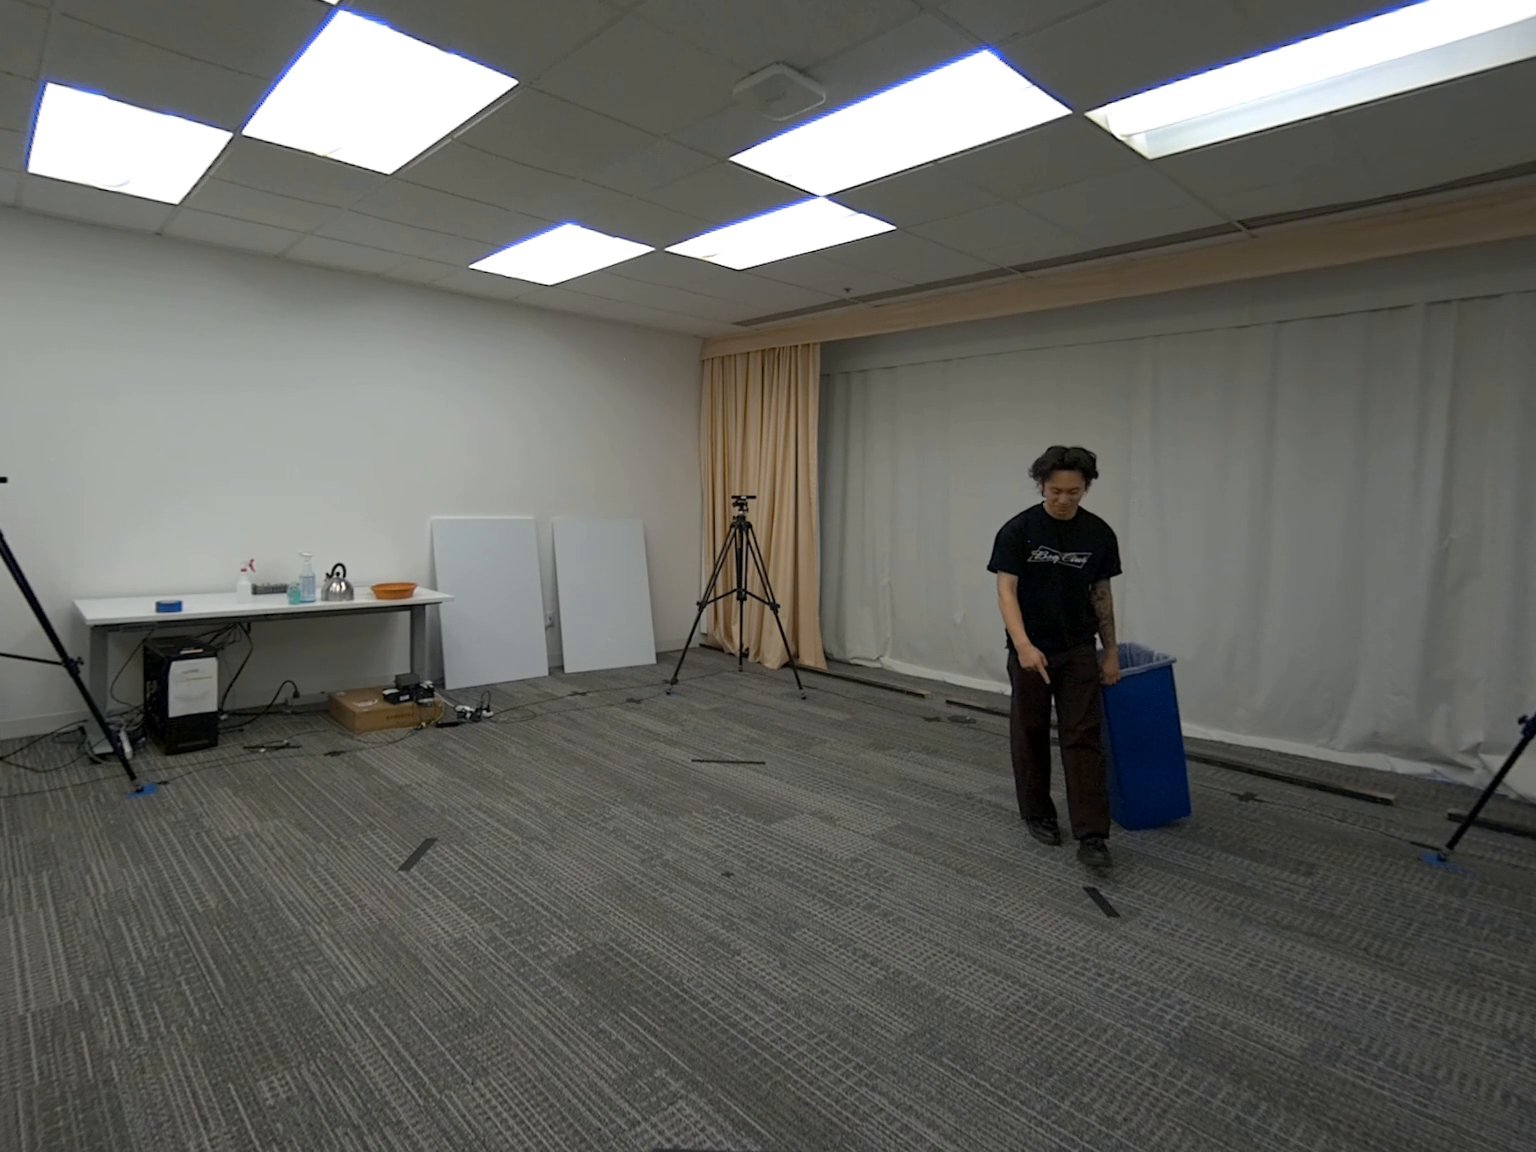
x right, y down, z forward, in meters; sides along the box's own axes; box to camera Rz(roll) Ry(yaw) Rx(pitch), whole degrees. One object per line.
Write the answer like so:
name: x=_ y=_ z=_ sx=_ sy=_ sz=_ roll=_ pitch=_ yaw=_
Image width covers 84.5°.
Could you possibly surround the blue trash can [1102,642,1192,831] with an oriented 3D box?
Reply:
blue trash can: x=1.582 y=0.706 z=3.754 sx=0.372 sy=0.710 sz=0.382 roll=-12 pitch=6 yaw=-7
